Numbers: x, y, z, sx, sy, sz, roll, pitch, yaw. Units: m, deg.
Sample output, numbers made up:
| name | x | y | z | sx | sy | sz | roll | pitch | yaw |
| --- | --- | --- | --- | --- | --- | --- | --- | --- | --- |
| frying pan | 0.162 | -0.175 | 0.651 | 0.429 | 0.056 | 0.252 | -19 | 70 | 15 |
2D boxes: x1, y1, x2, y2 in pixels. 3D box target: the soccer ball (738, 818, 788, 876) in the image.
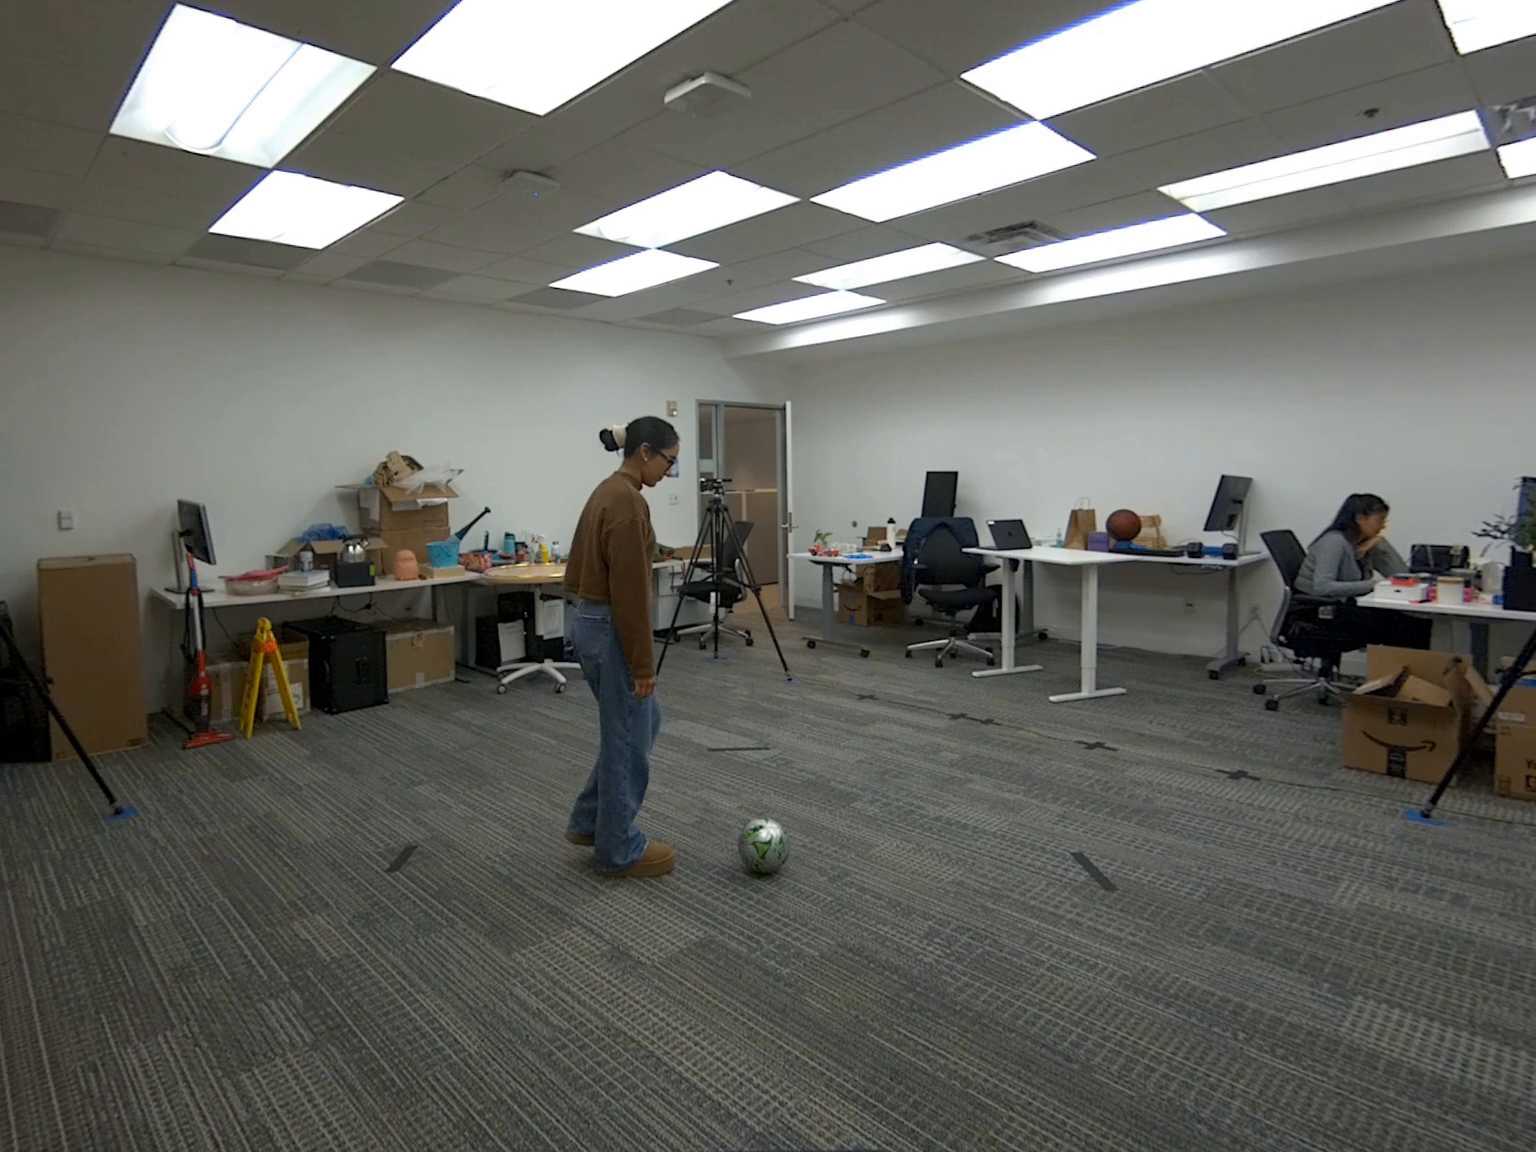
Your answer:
| name | x | y | z | sx | sy | sz | roll | pitch | yaw |
| --- | --- | --- | --- | --- | --- | --- | --- | --- | --- |
| soccer ball | -0.014 | 0.950 | 3.036 | 0.187 | 0.187 | 0.188 | -1 | 5 | -2 |
